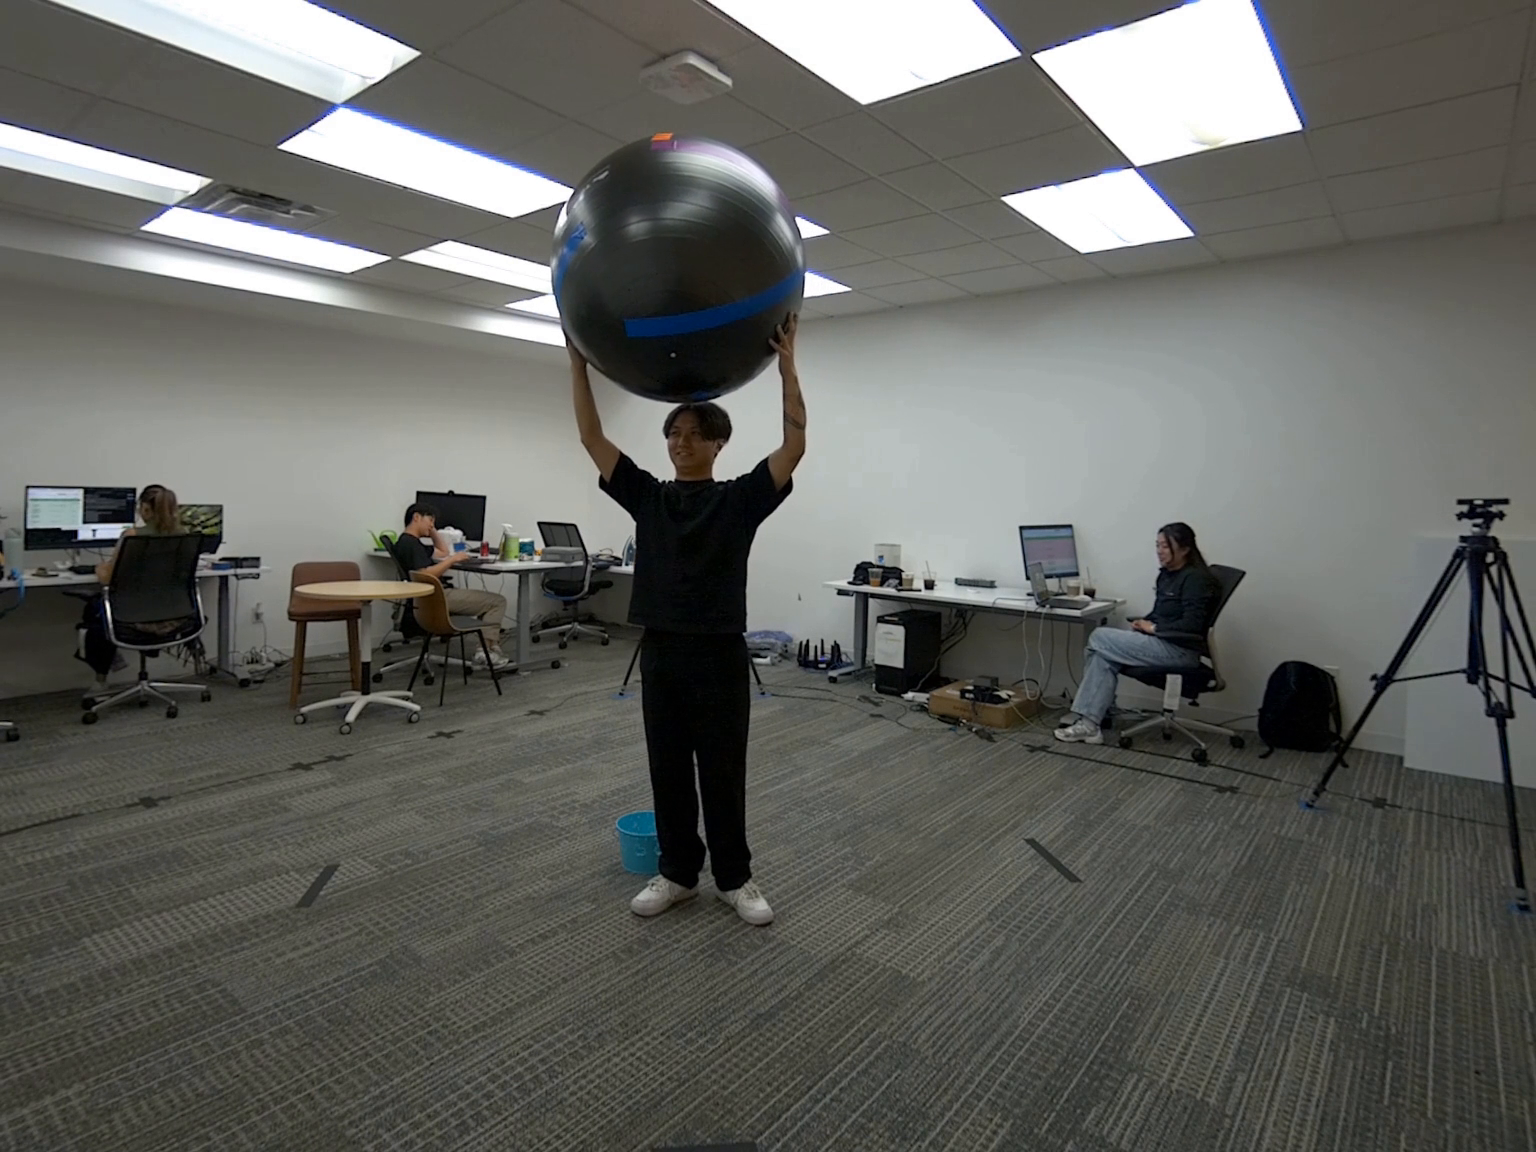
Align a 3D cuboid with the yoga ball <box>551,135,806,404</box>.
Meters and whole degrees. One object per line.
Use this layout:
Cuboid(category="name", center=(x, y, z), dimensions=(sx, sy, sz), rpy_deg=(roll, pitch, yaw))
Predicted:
Cuboid(category="yoga ball", center=(-0.277, -0.903, 2.531), dimensions=(0.757, 0.755, 0.762), rpy_deg=(1, 4, -2))
